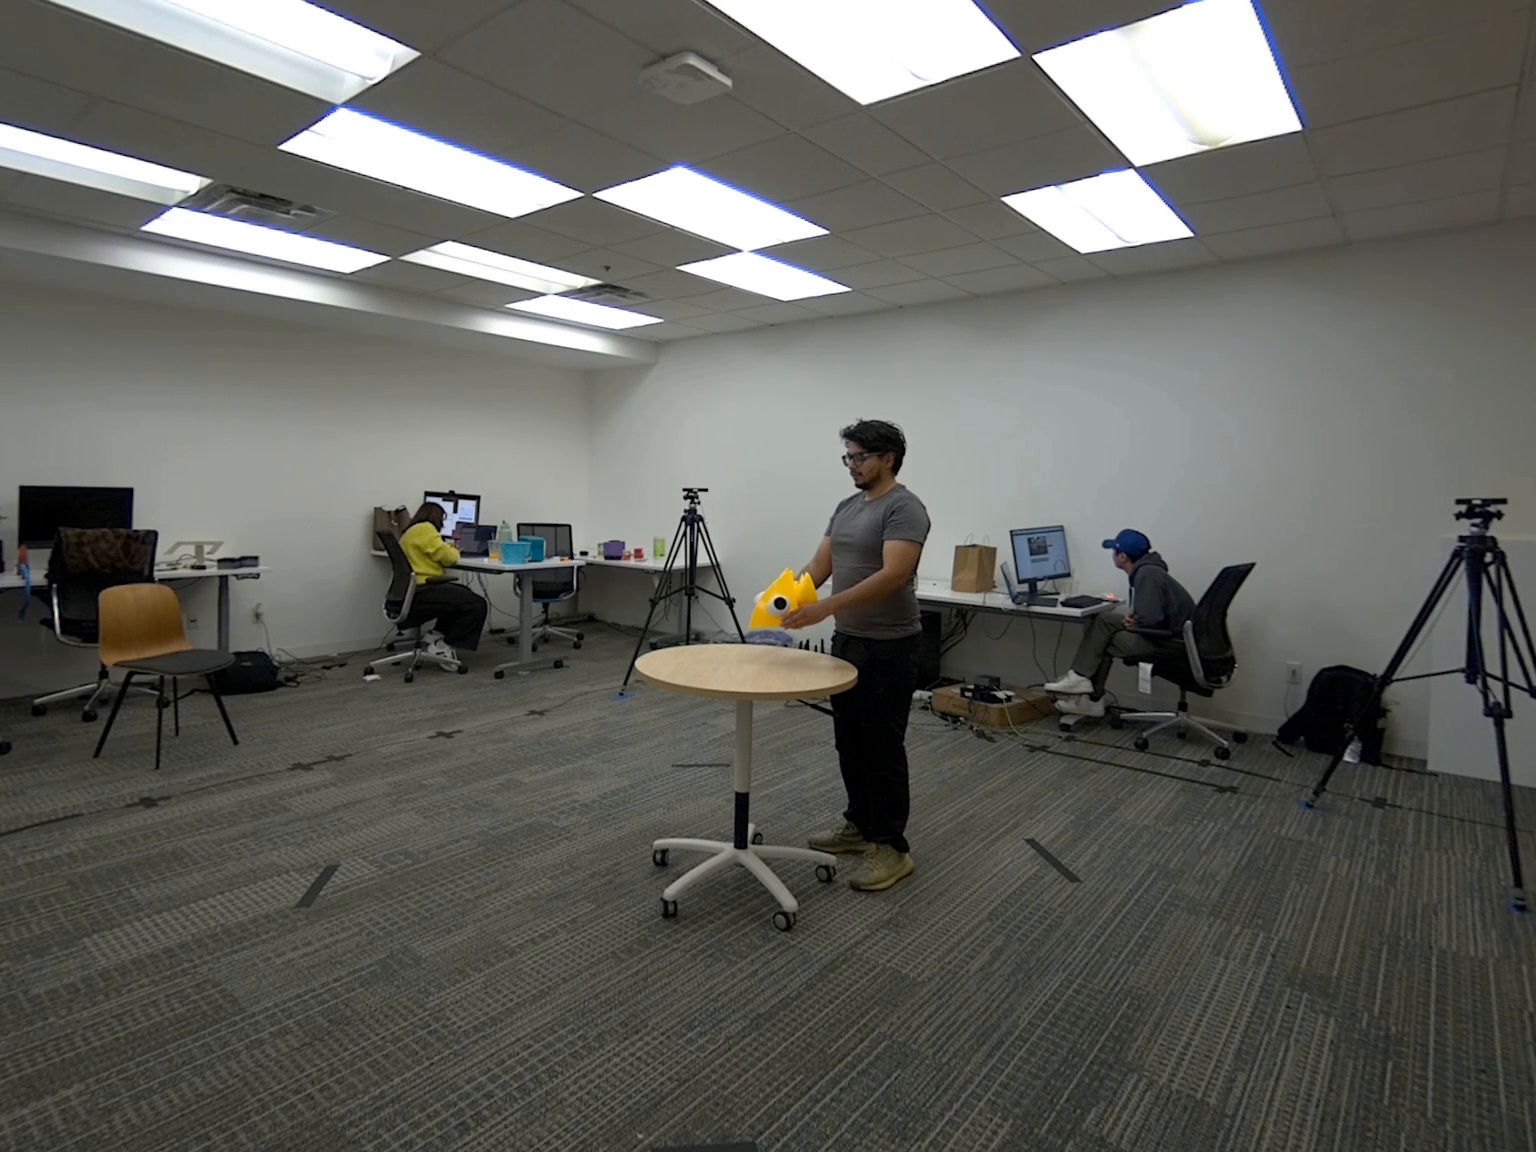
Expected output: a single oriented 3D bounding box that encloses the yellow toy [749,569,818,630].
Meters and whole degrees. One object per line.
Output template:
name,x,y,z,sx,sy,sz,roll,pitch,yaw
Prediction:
yellow toy,0.017,0.091,2.983,0.226,0.191,0.211,-15,13,-27
